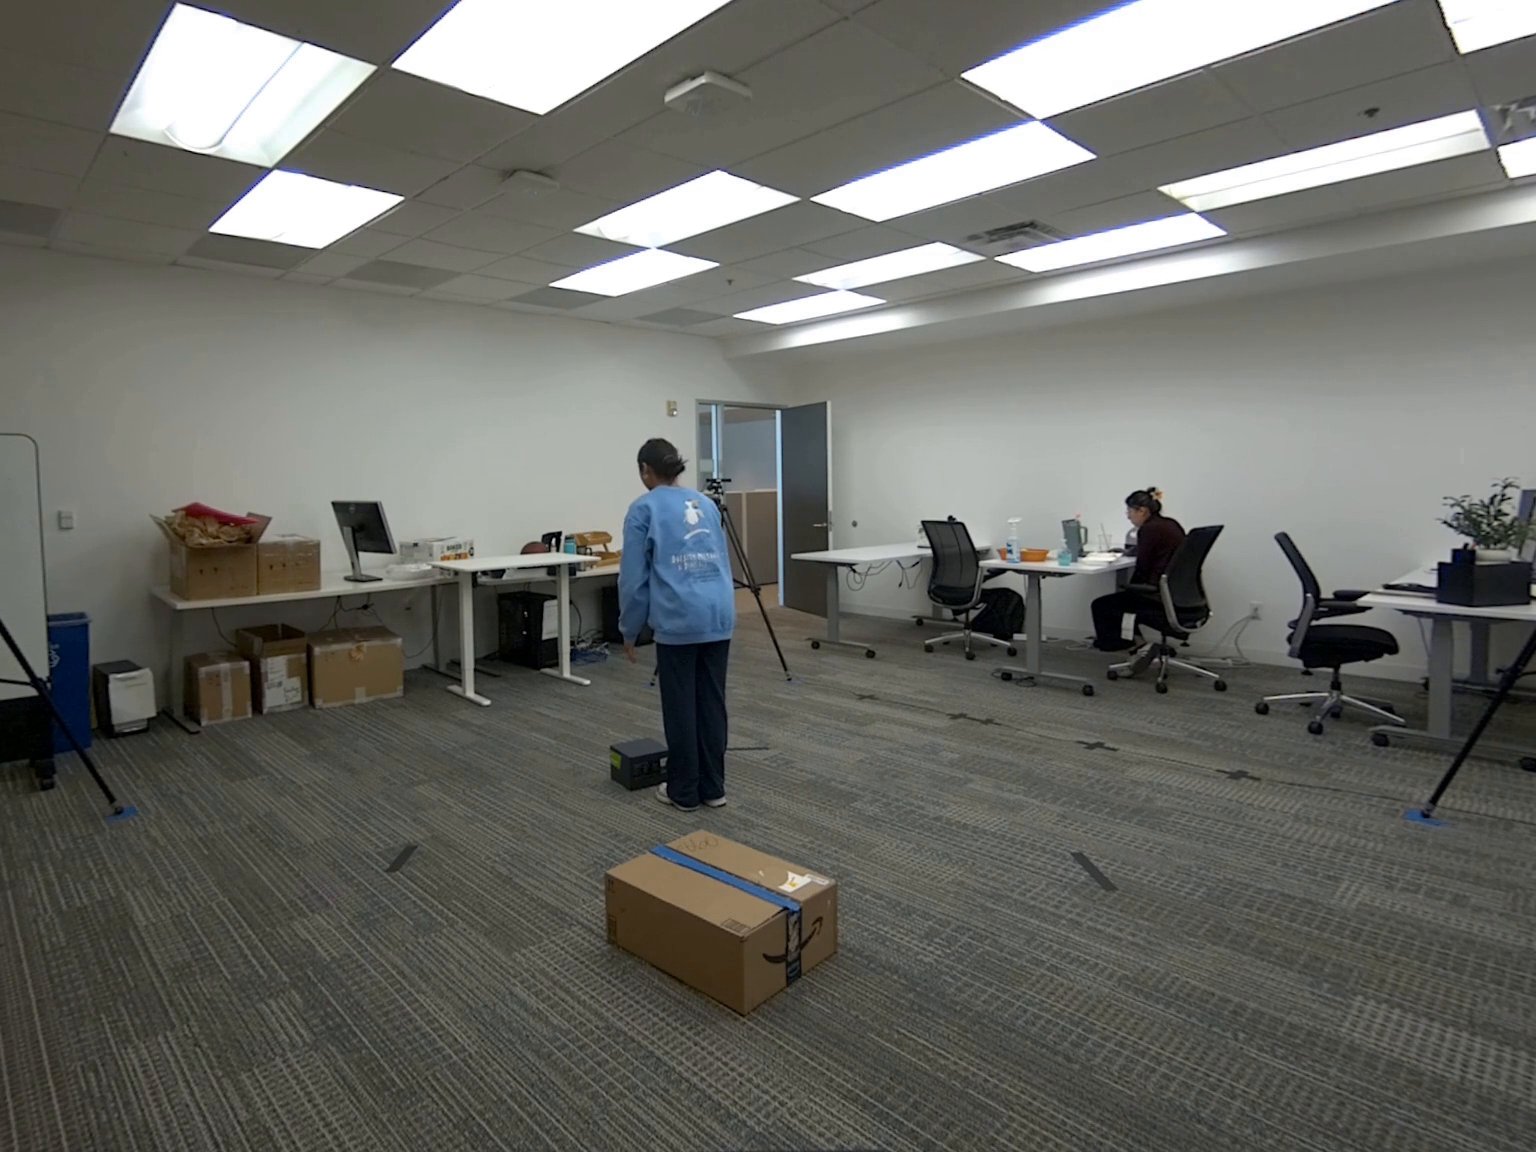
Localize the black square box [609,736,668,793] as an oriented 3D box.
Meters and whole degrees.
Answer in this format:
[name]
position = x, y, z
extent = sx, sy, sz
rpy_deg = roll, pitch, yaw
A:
[black square box]
position = -0.590, 0.874, 4.002
extent = 0.212, 0.155, 0.234
rpy_deg = -6, 7, -34
